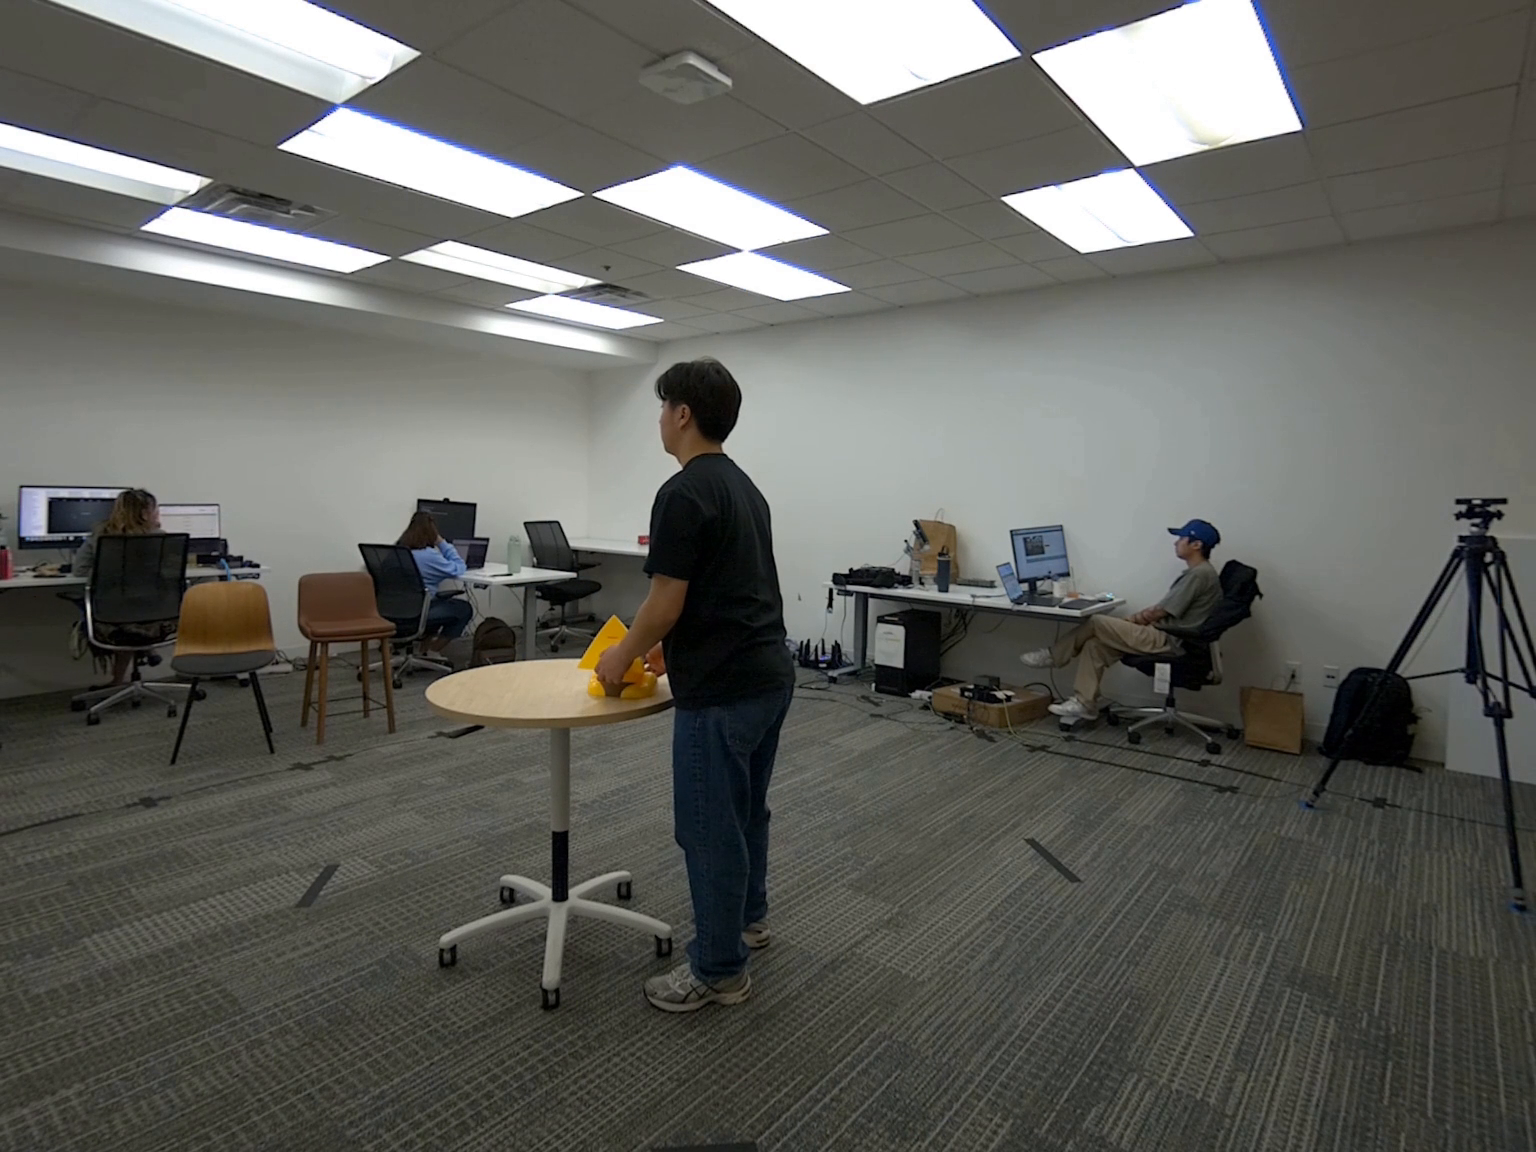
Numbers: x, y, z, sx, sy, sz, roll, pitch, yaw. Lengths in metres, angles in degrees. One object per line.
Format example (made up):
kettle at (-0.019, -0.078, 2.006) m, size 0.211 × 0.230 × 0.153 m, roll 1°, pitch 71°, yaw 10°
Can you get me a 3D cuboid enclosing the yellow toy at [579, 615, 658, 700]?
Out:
yellow toy at (-0.431, 0.218, 2.454) m, size 0.208 × 0.230 × 0.190 m, roll 2°, pitch 4°, yaw 15°
